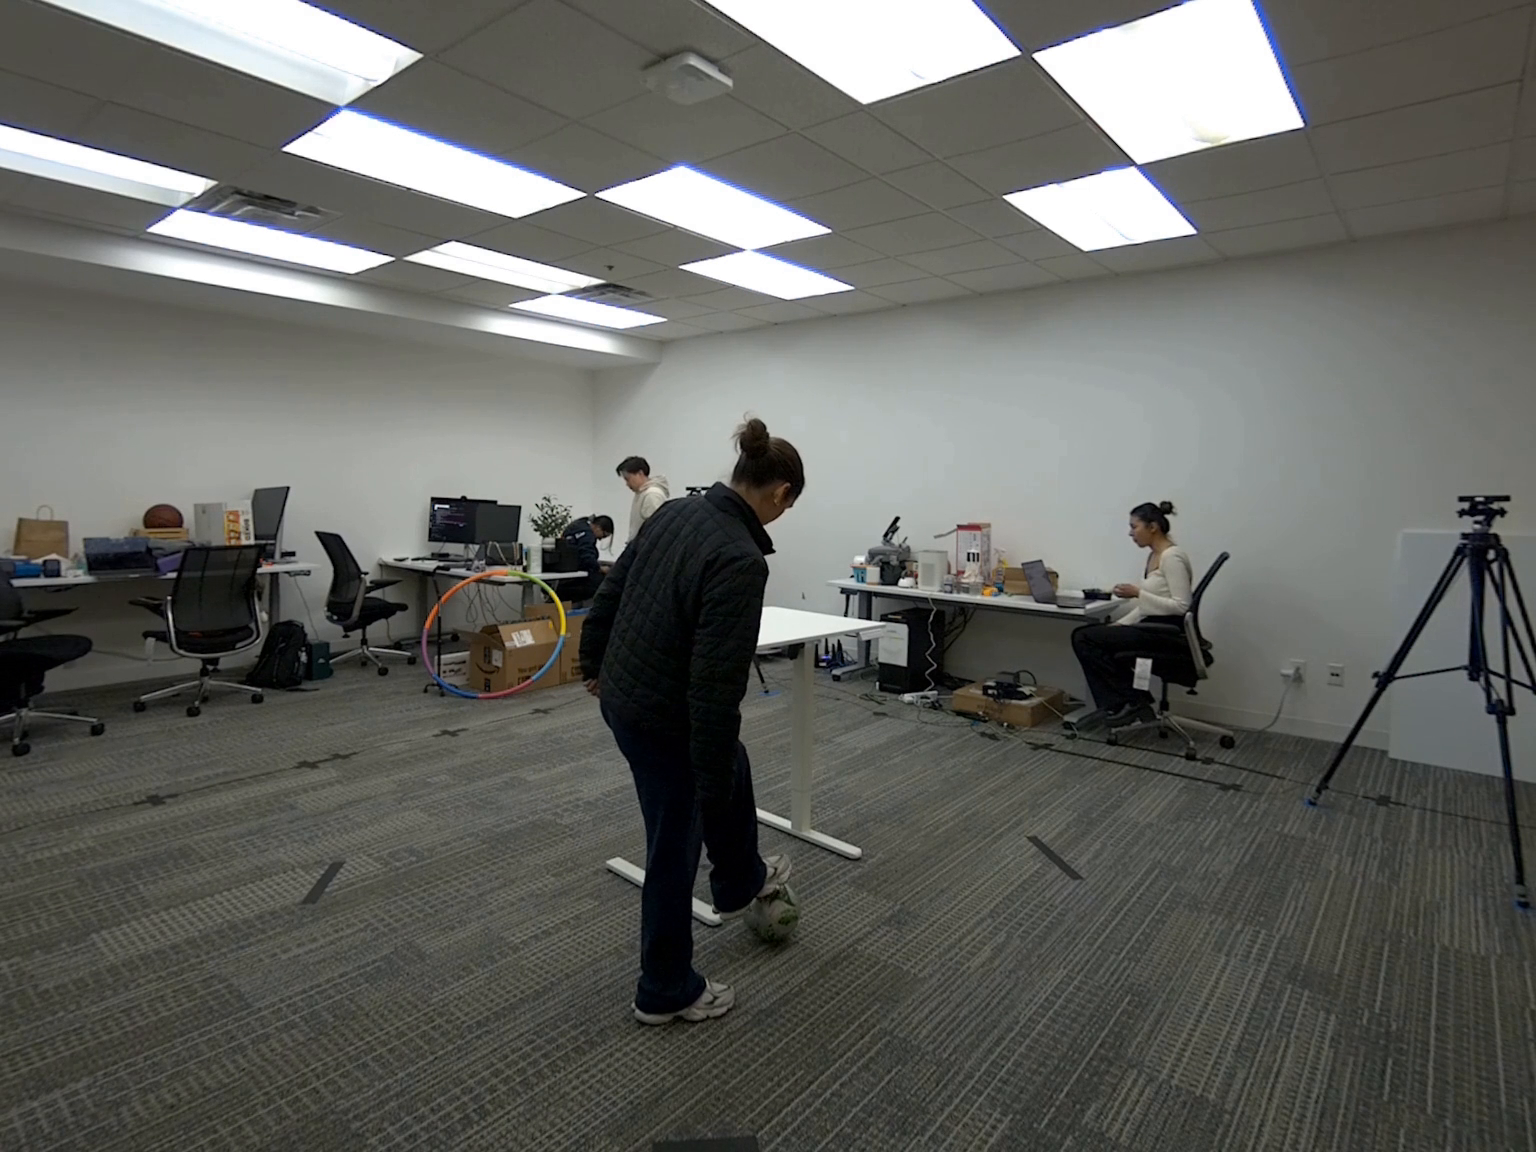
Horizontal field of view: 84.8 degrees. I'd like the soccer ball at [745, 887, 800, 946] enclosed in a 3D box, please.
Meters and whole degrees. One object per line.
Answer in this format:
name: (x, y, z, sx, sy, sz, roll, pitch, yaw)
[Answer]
soccer ball: (0.007, 1.022, 2.632, 0.187, 0.187, 0.188, 1, 4, -2)
